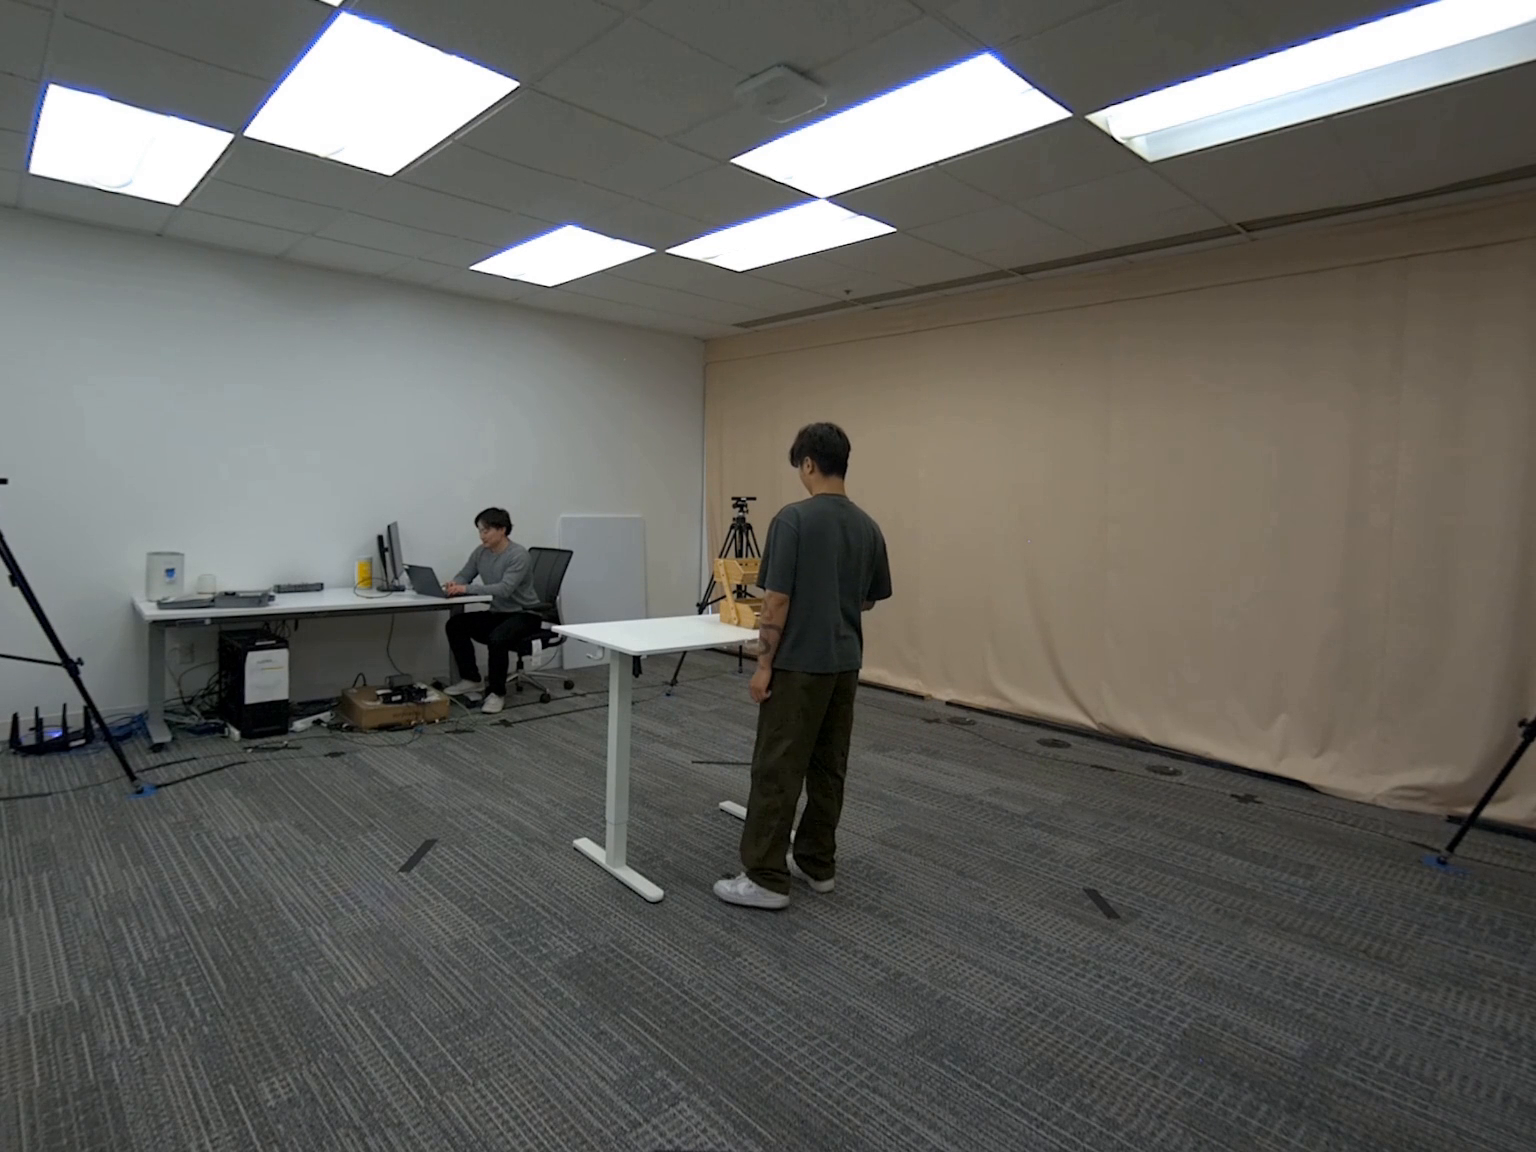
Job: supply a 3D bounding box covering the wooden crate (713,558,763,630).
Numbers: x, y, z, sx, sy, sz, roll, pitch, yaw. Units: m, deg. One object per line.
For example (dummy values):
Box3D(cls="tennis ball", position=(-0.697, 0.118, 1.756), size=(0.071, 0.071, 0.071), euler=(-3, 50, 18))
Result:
Box3D(cls="wooden crate", position=(-0.023, 0.064, 3.484), size=(0.317, 0.273, 0.309), euler=(-1, 5, -36))
